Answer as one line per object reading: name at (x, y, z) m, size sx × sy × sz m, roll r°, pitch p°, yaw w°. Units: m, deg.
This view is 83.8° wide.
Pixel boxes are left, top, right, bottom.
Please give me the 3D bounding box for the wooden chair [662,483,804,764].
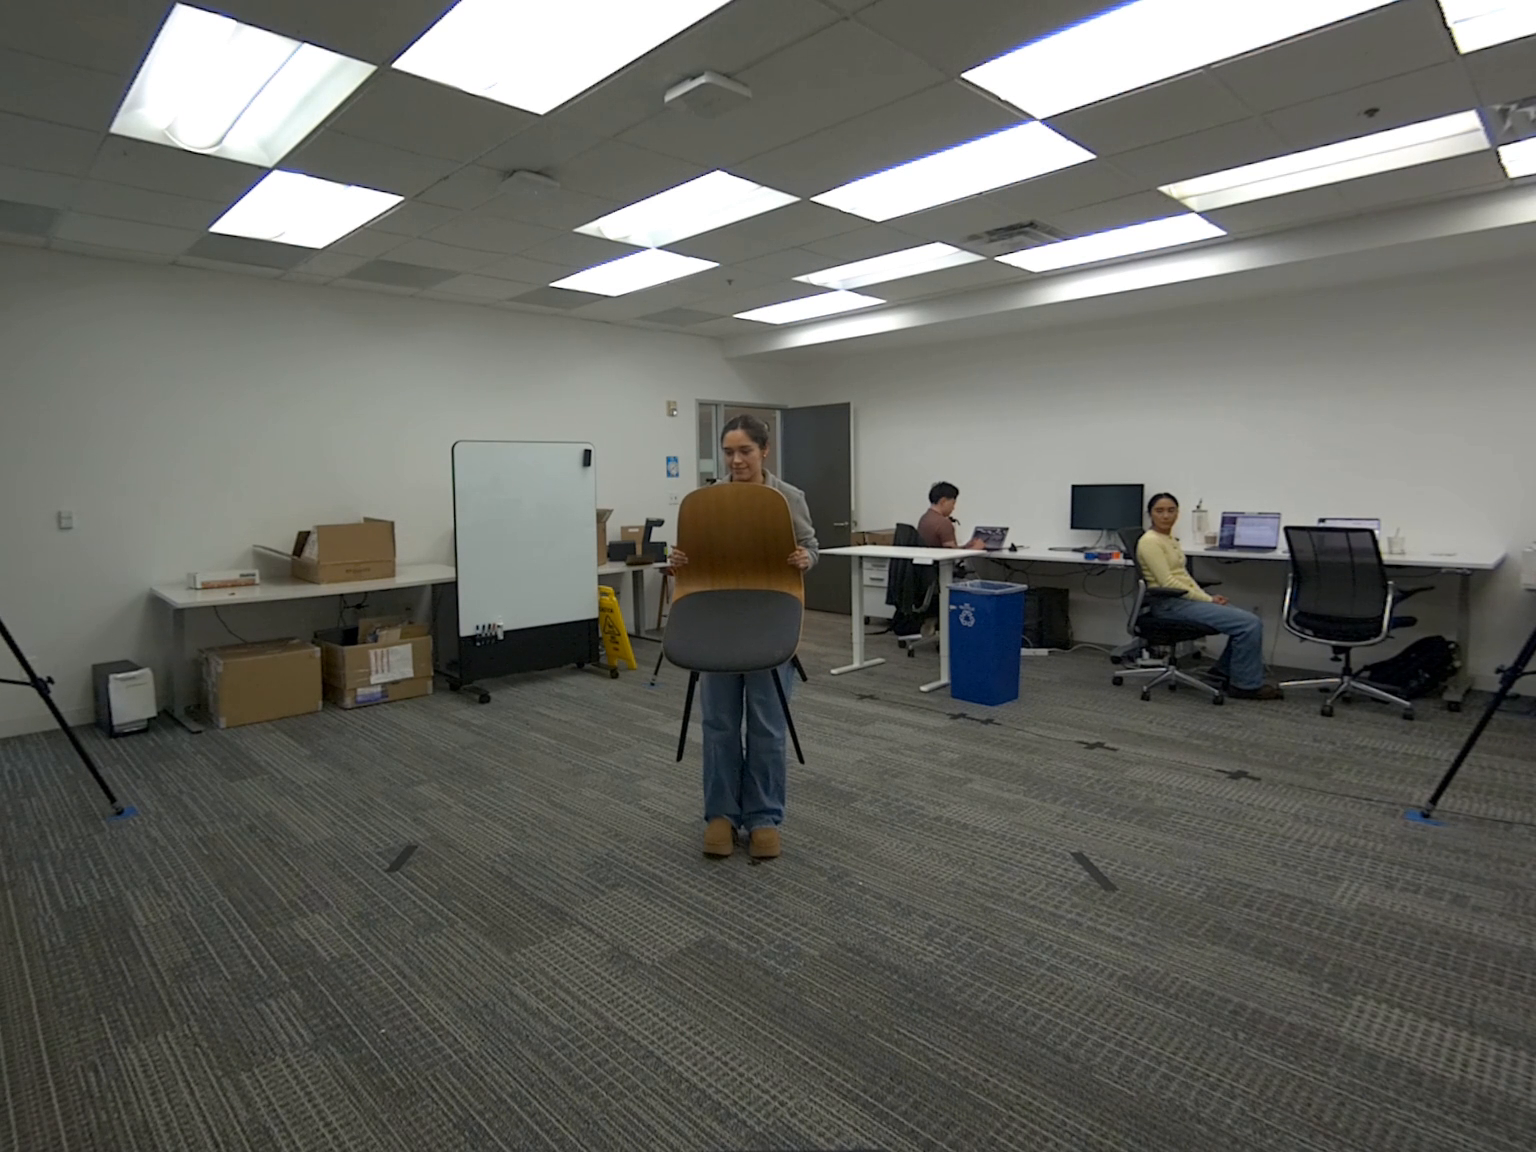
wooden chair at (-0.124, 0.185, 2.970) m, size 0.482 × 0.858 × 0.531 m, roll 0°, pitch 26°, yaw 7°
